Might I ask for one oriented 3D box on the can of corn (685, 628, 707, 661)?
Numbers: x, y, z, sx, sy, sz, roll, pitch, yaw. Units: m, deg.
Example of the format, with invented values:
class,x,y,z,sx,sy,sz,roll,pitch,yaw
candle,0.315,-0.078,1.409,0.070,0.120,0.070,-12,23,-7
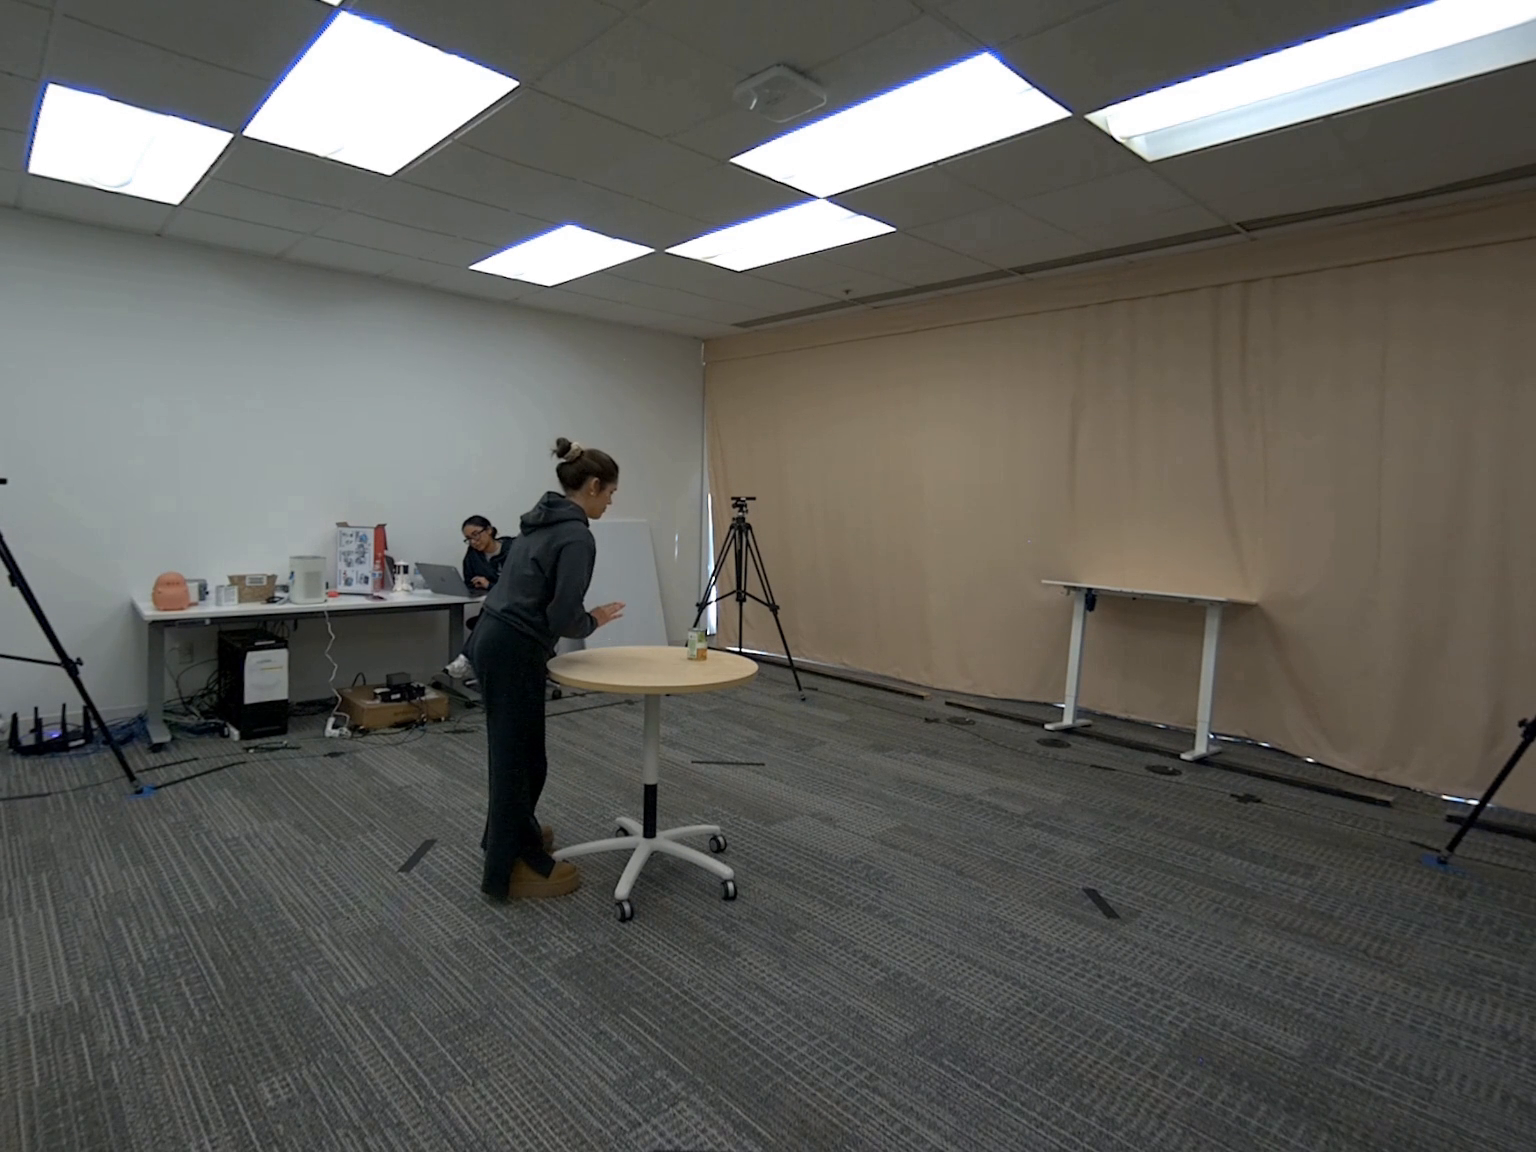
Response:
class,x,y,z,sx,sy,sz,roll,pitch,yaw
can of corn,-0.278,0.255,3.184,0.074,0.111,0.074,3,4,-2
